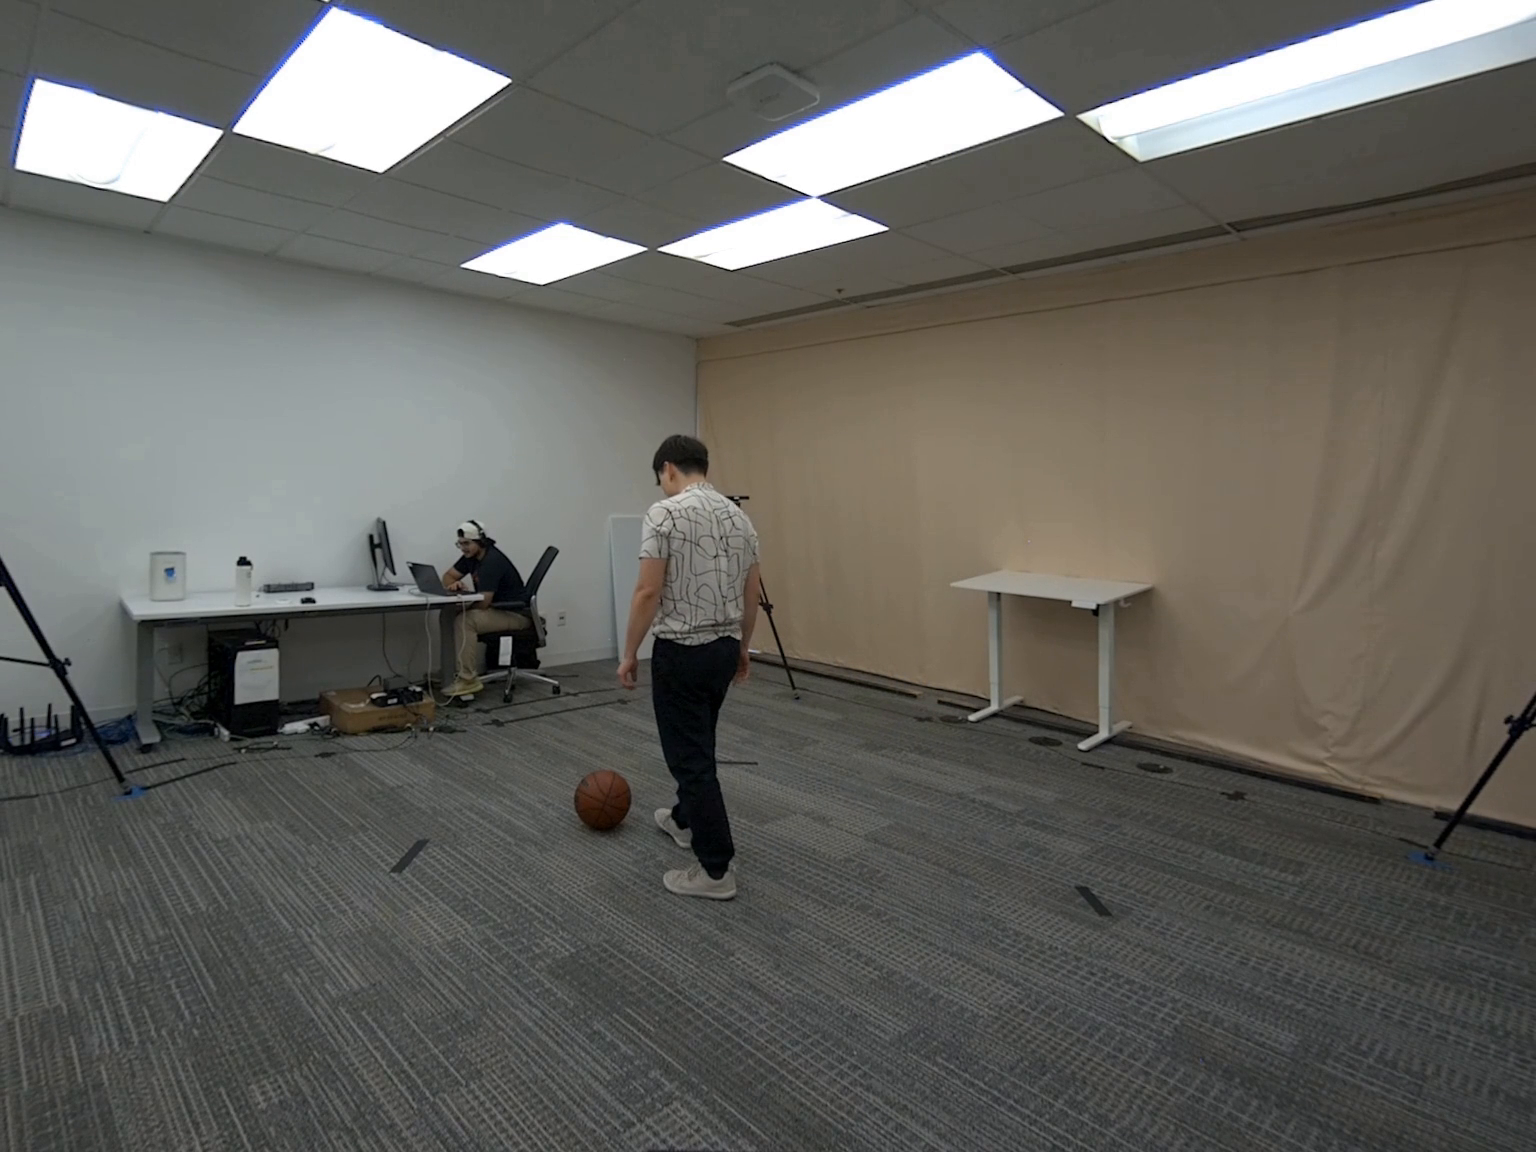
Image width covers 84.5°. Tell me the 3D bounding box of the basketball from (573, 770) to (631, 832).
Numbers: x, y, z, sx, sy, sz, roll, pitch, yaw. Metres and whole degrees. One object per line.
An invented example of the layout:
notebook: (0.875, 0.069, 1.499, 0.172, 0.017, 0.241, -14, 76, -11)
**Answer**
basketball: (-0.703, 0.935, 3.521, 0.236, 0.235, 0.237, 1, 4, -1)
